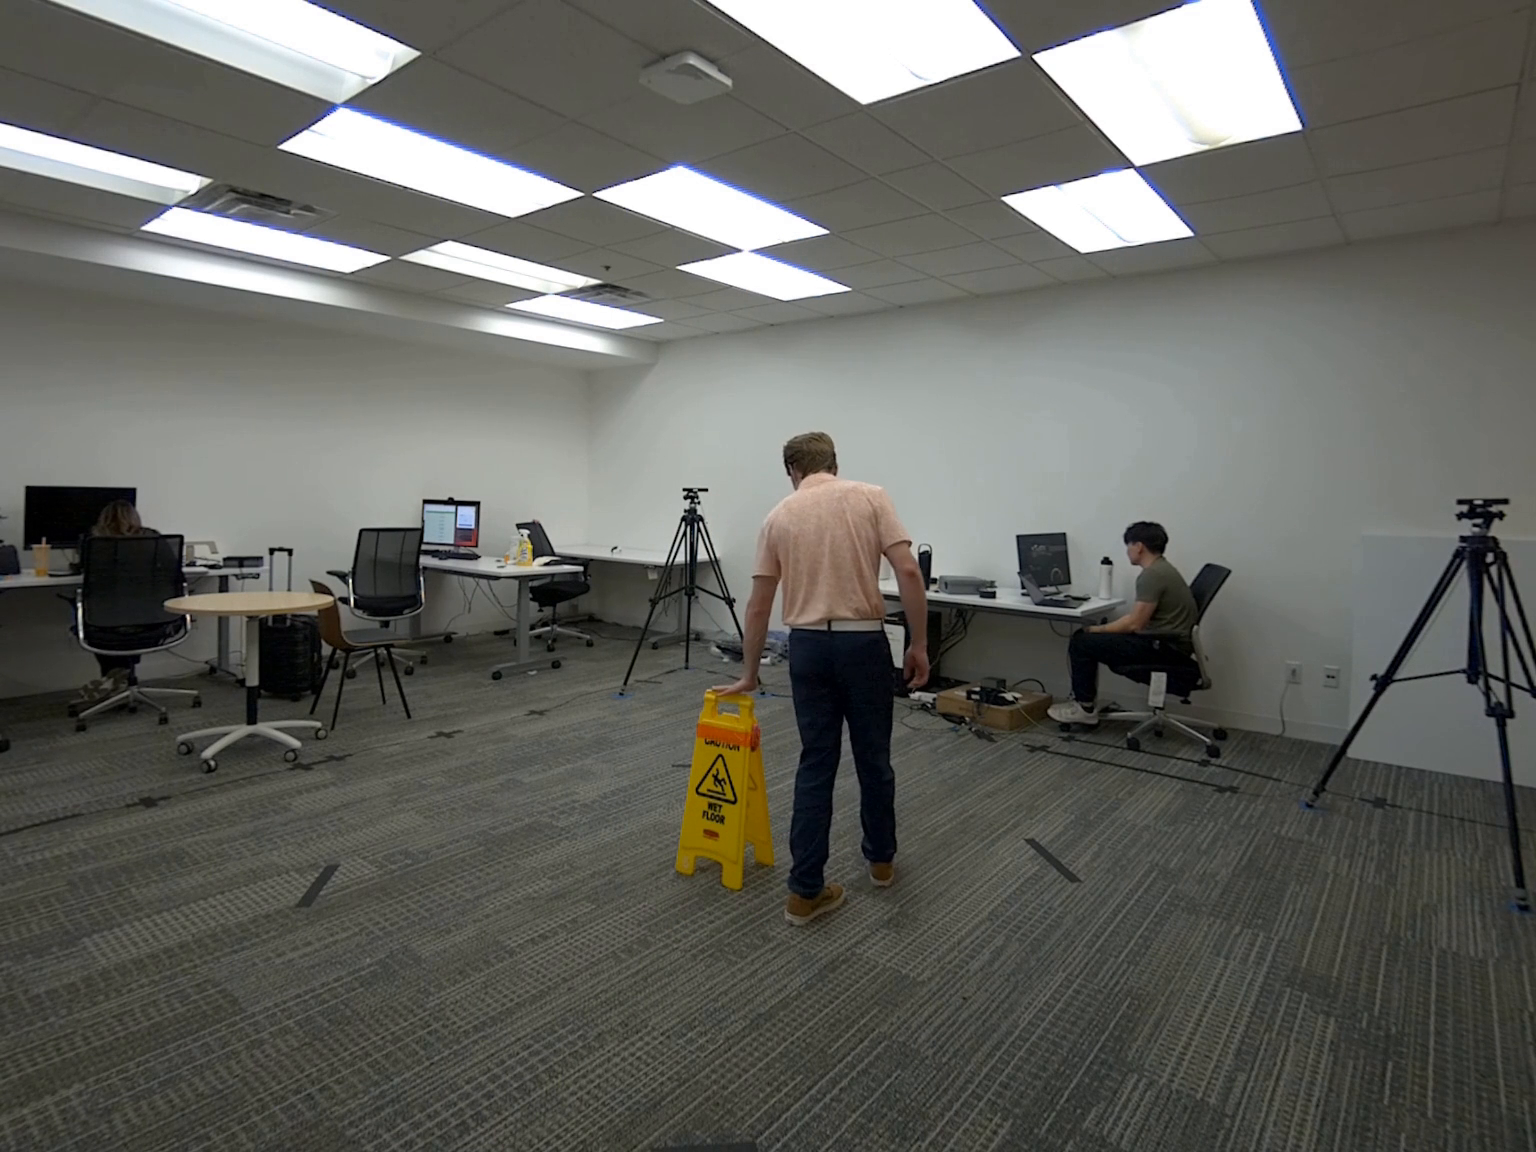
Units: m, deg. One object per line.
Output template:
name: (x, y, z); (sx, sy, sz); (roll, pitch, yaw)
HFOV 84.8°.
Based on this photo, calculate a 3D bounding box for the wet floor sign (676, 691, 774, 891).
wet floor sign: (-0.163, 0.746, 3.105); (0.291, 0.644, 0.282); (2, 3, 31)
